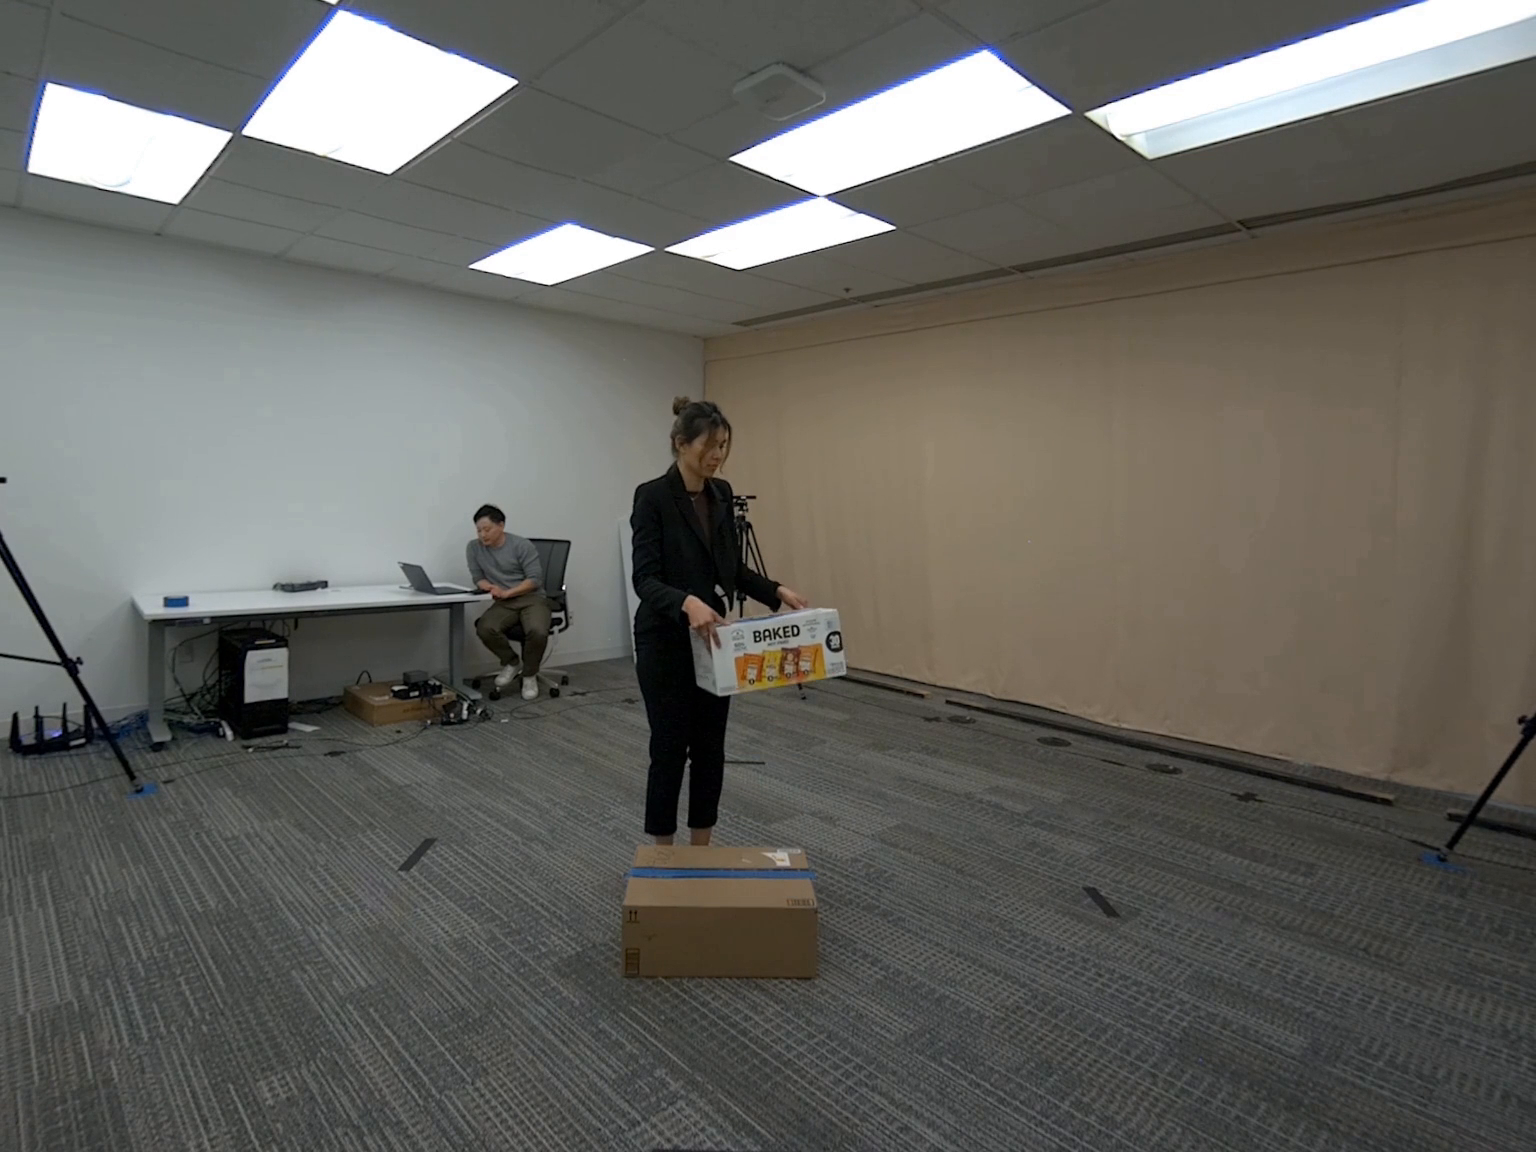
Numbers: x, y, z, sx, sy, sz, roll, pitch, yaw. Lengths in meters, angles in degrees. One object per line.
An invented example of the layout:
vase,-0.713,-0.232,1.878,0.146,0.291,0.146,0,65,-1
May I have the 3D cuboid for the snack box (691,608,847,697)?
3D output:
snack box,-0.014,0.235,2.665,0.401,0.206,0.343,-8,0,-14
